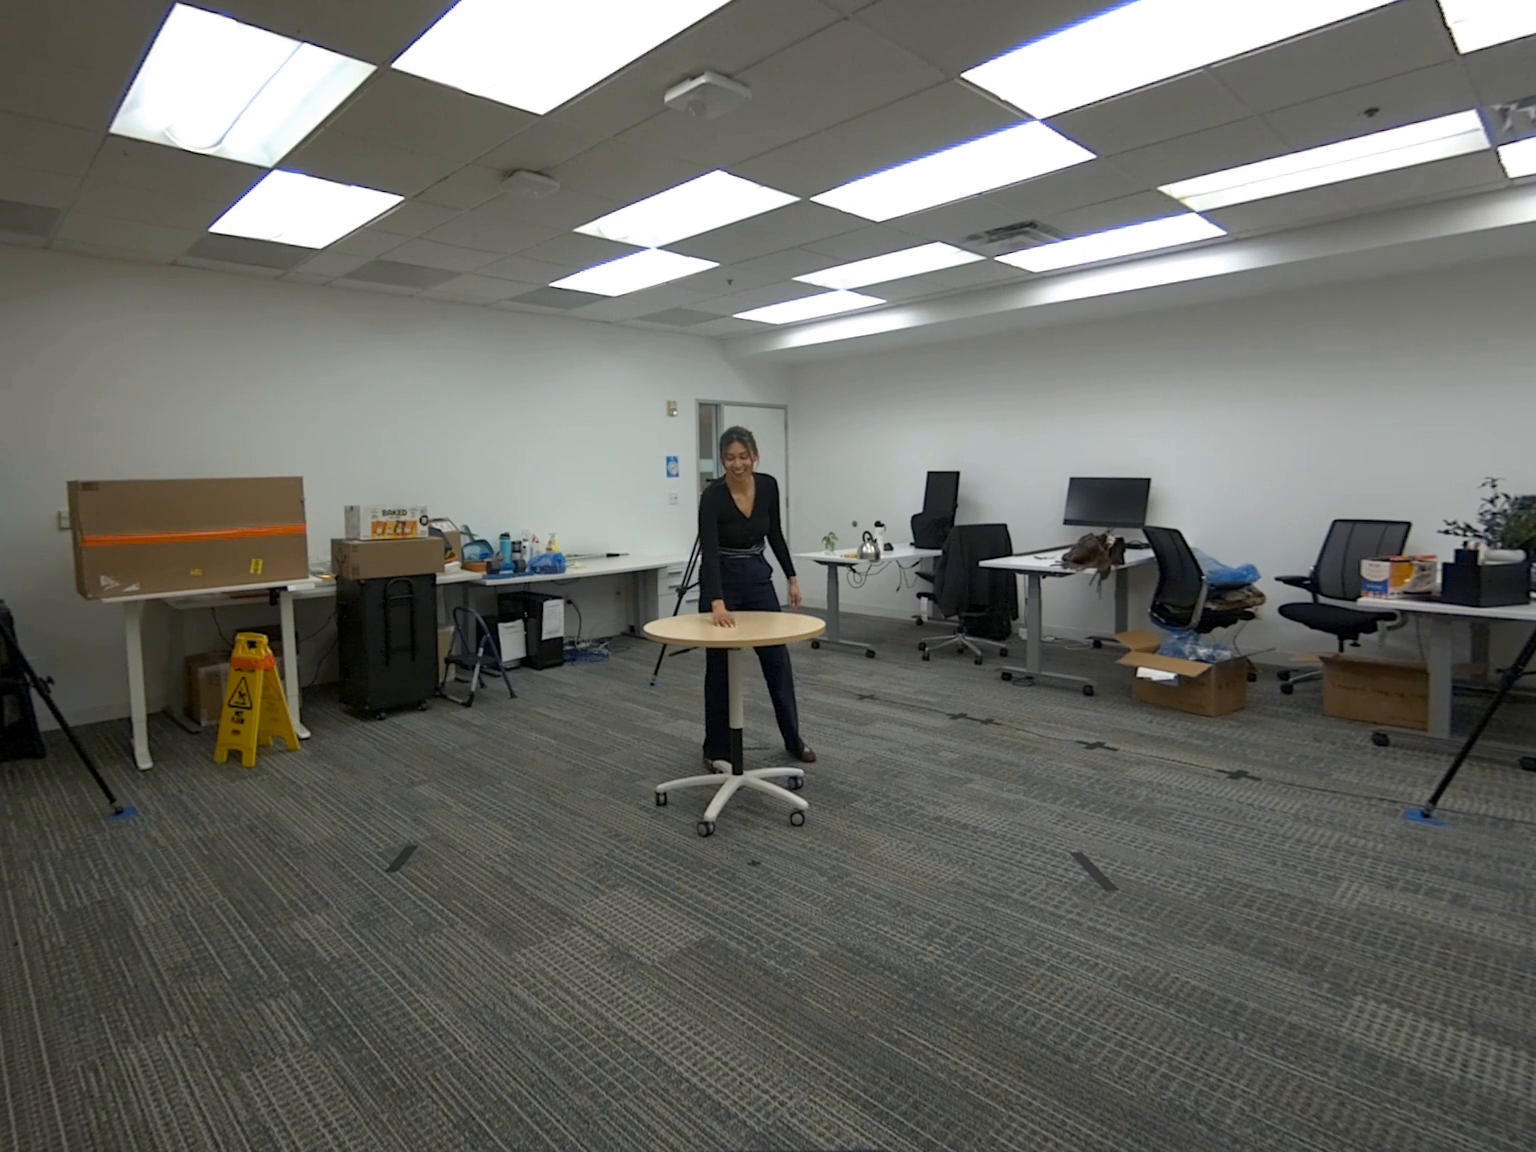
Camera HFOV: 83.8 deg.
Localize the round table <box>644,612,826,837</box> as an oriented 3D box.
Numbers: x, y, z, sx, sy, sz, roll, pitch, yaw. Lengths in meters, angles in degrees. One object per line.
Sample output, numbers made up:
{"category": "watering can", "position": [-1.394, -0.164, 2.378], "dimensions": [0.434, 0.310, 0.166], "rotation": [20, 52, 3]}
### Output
{"category": "round table", "position": [-0.134, 0.600, 3.632], "dimensions": [0.763, 0.791, 0.767], "rotation": [-1, 4, -2]}
